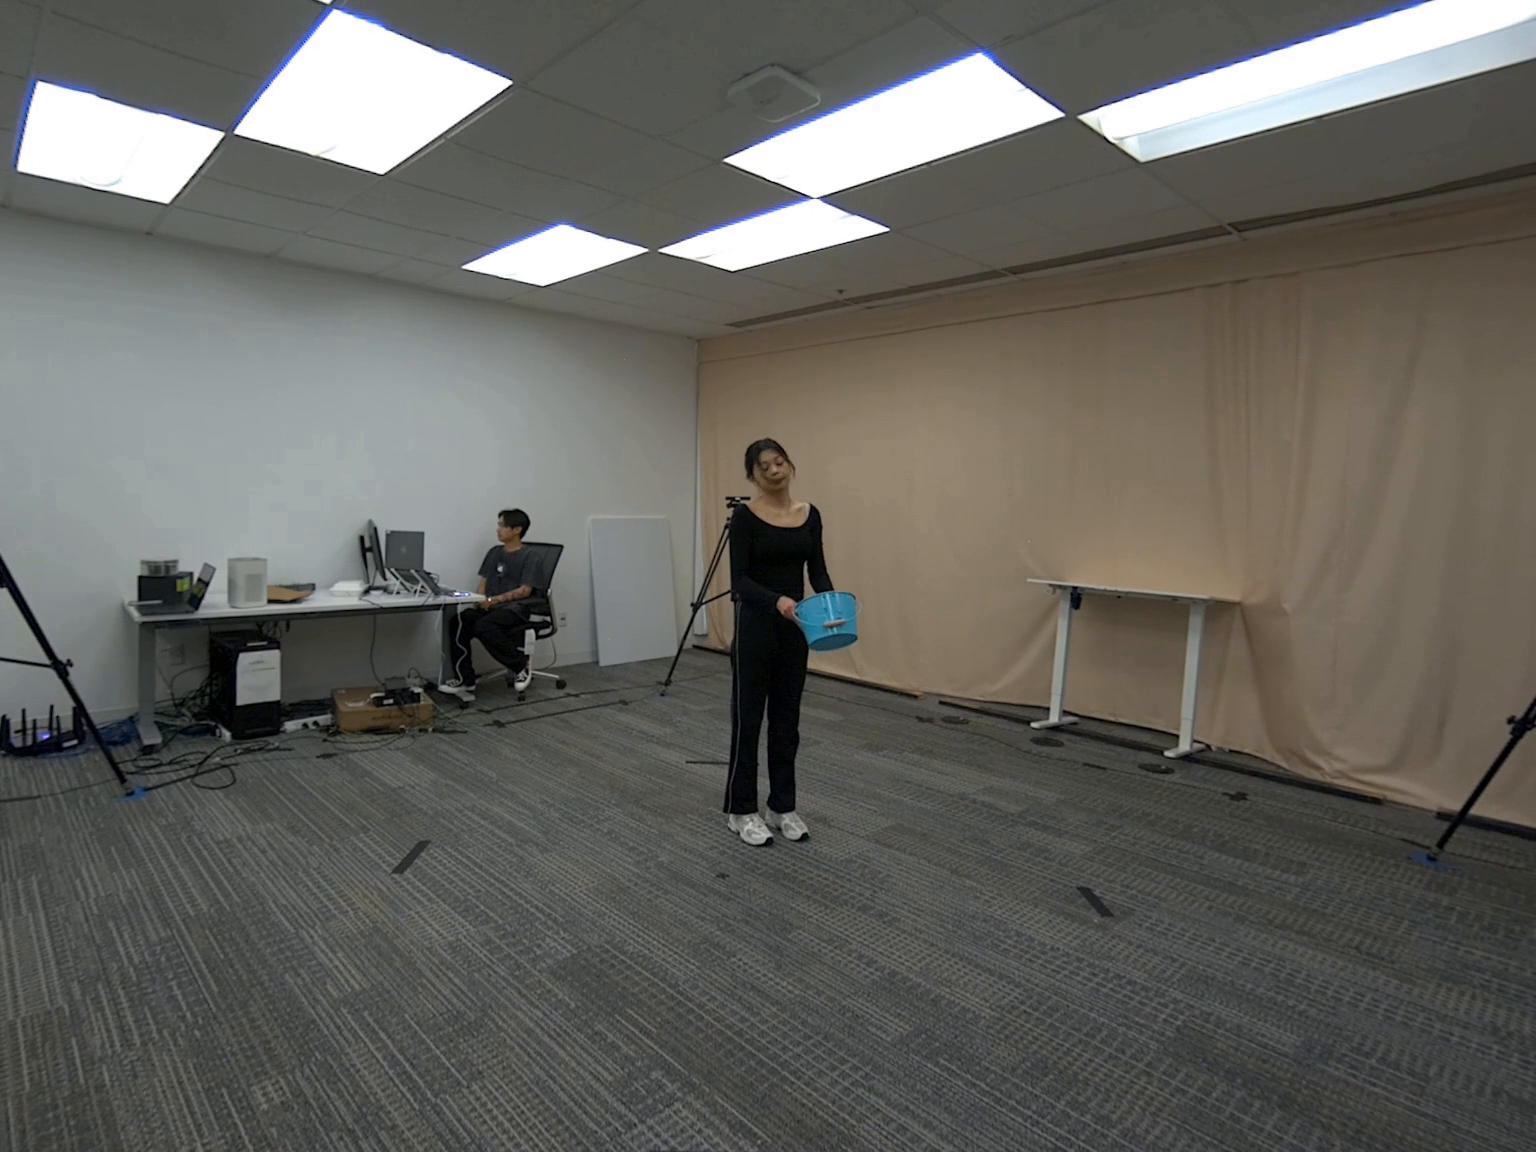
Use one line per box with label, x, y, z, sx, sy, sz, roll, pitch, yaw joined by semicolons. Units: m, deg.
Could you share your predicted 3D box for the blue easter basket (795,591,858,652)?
blue easter basket;0.215;0.177;3.093;0.243;0.159;0.239;-7;-24;-4
